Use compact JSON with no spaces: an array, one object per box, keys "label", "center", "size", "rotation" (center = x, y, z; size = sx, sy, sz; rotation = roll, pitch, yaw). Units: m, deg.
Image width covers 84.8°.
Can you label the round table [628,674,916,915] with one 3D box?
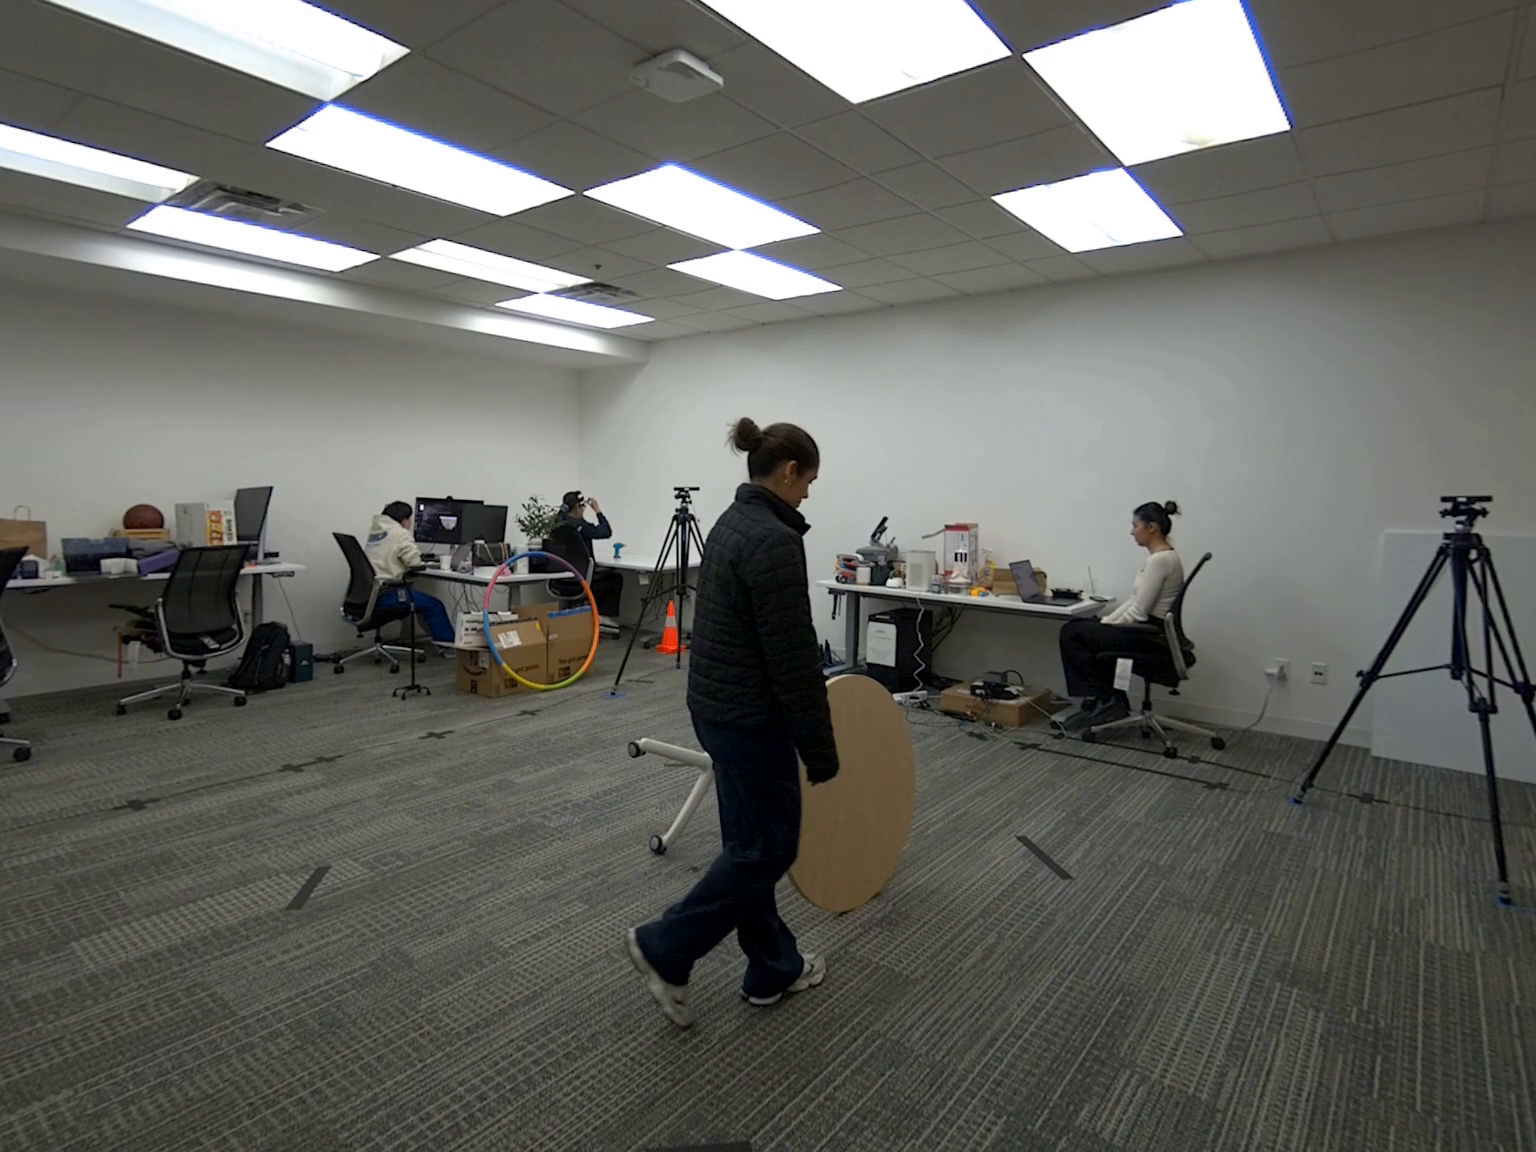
[{"label":"round table","center":[0.012,0.728,3.159],"size":[0.810,0.786,0.761],"rotation":[-3,0,44]}]
